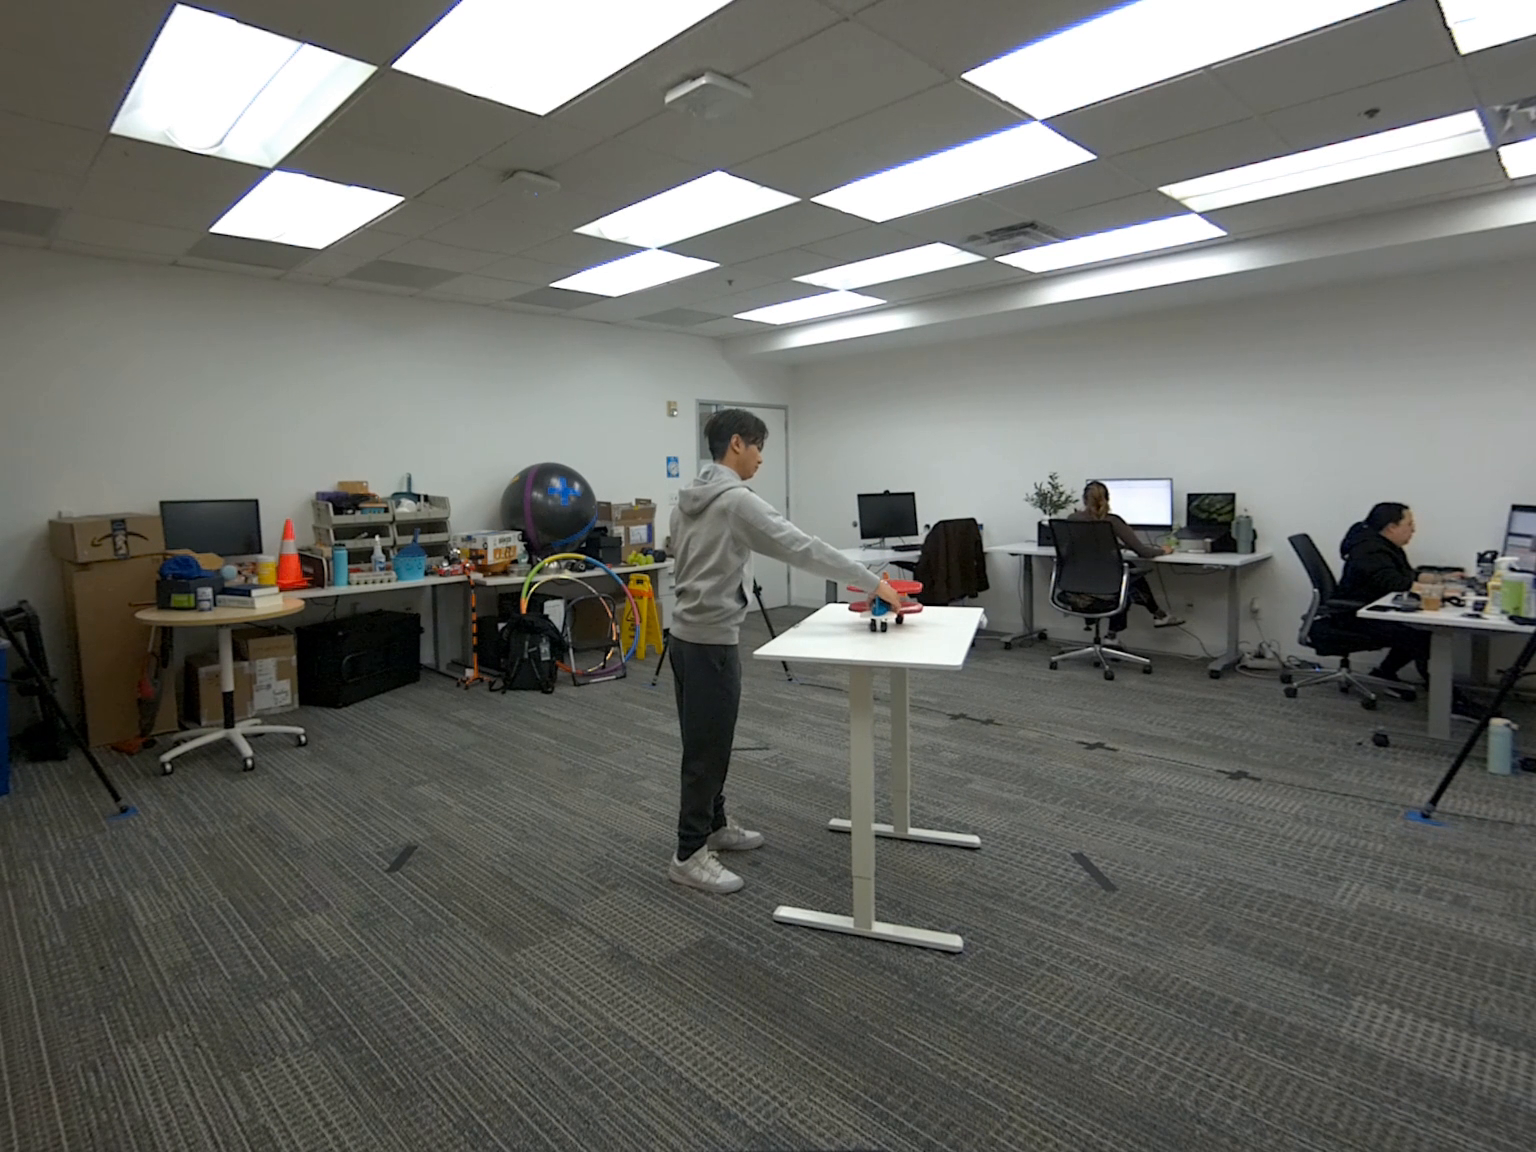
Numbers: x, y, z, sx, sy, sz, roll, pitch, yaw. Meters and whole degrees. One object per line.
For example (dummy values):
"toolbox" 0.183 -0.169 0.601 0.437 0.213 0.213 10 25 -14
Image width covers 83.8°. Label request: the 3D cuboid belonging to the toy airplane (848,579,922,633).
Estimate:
"toy airplane" 0.414 0.101 2.909 0.249 0.156 0.263 -2 6 -10
